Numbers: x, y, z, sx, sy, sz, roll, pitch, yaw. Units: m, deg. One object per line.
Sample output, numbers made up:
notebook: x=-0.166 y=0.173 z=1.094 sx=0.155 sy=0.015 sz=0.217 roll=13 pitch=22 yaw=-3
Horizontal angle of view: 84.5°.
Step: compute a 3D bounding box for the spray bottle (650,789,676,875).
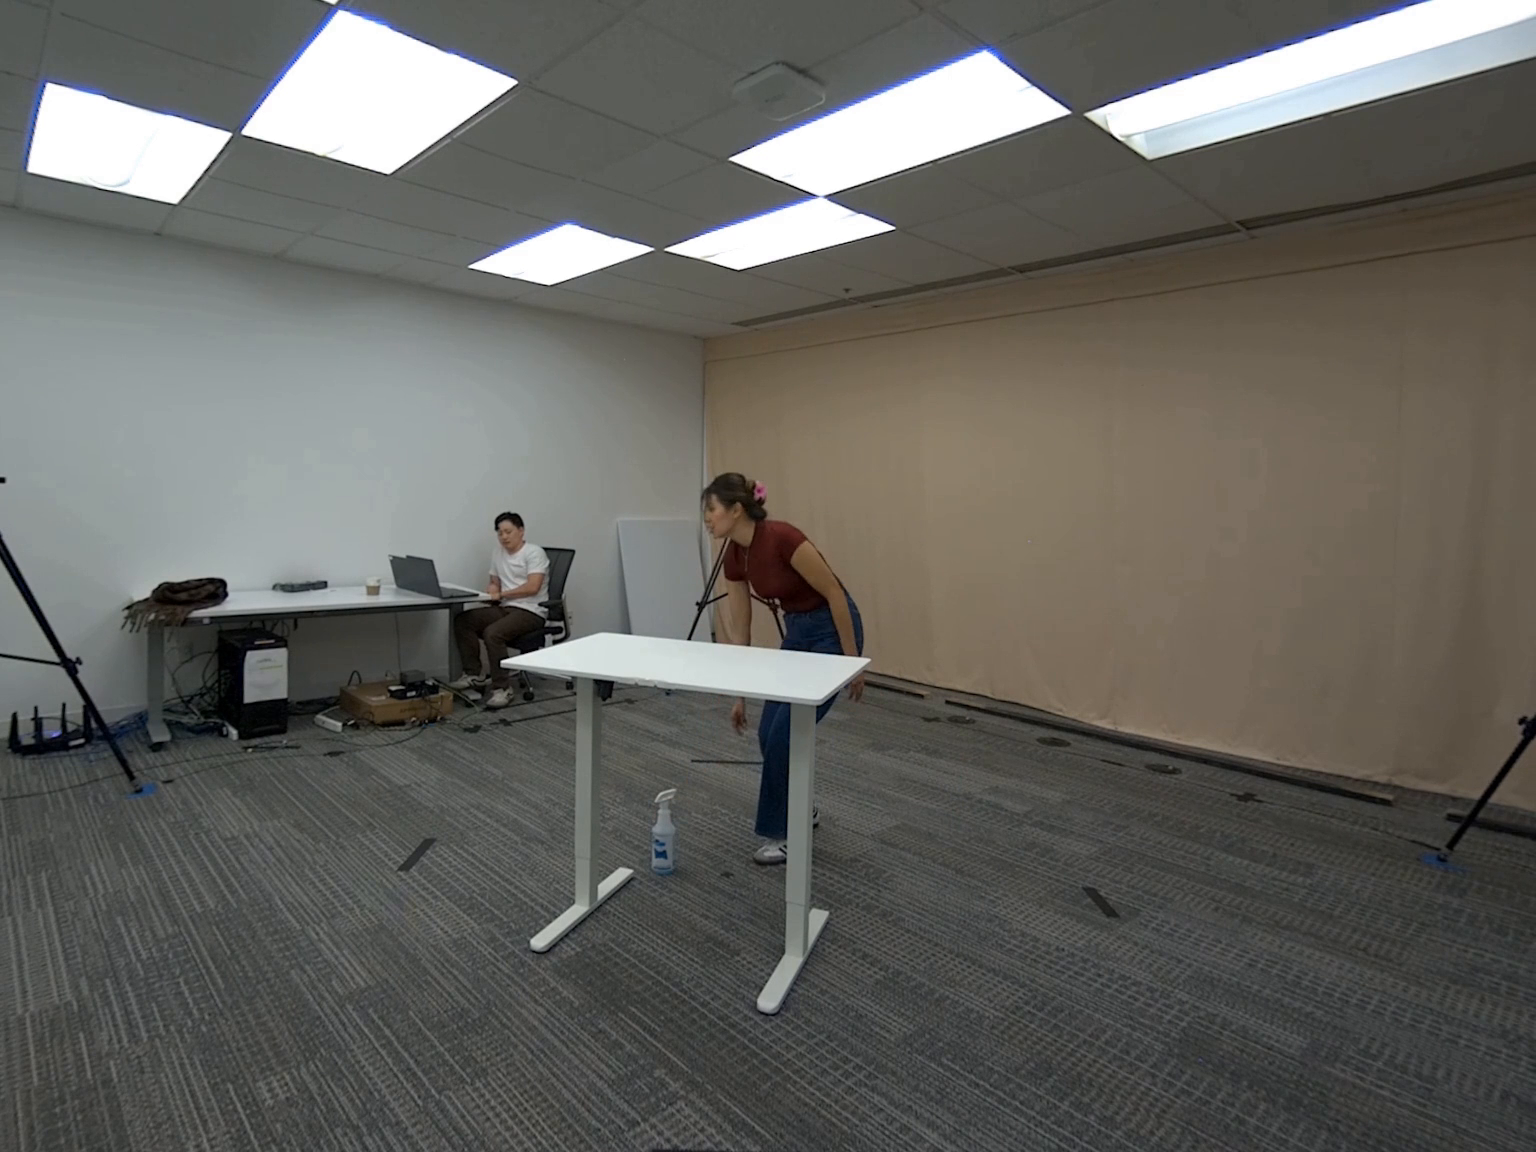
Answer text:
spray bottle: x=-0.391 y=0.948 z=3.121 sx=0.089 sy=0.297 sz=0.088 roll=1 pitch=3 yaw=-14
